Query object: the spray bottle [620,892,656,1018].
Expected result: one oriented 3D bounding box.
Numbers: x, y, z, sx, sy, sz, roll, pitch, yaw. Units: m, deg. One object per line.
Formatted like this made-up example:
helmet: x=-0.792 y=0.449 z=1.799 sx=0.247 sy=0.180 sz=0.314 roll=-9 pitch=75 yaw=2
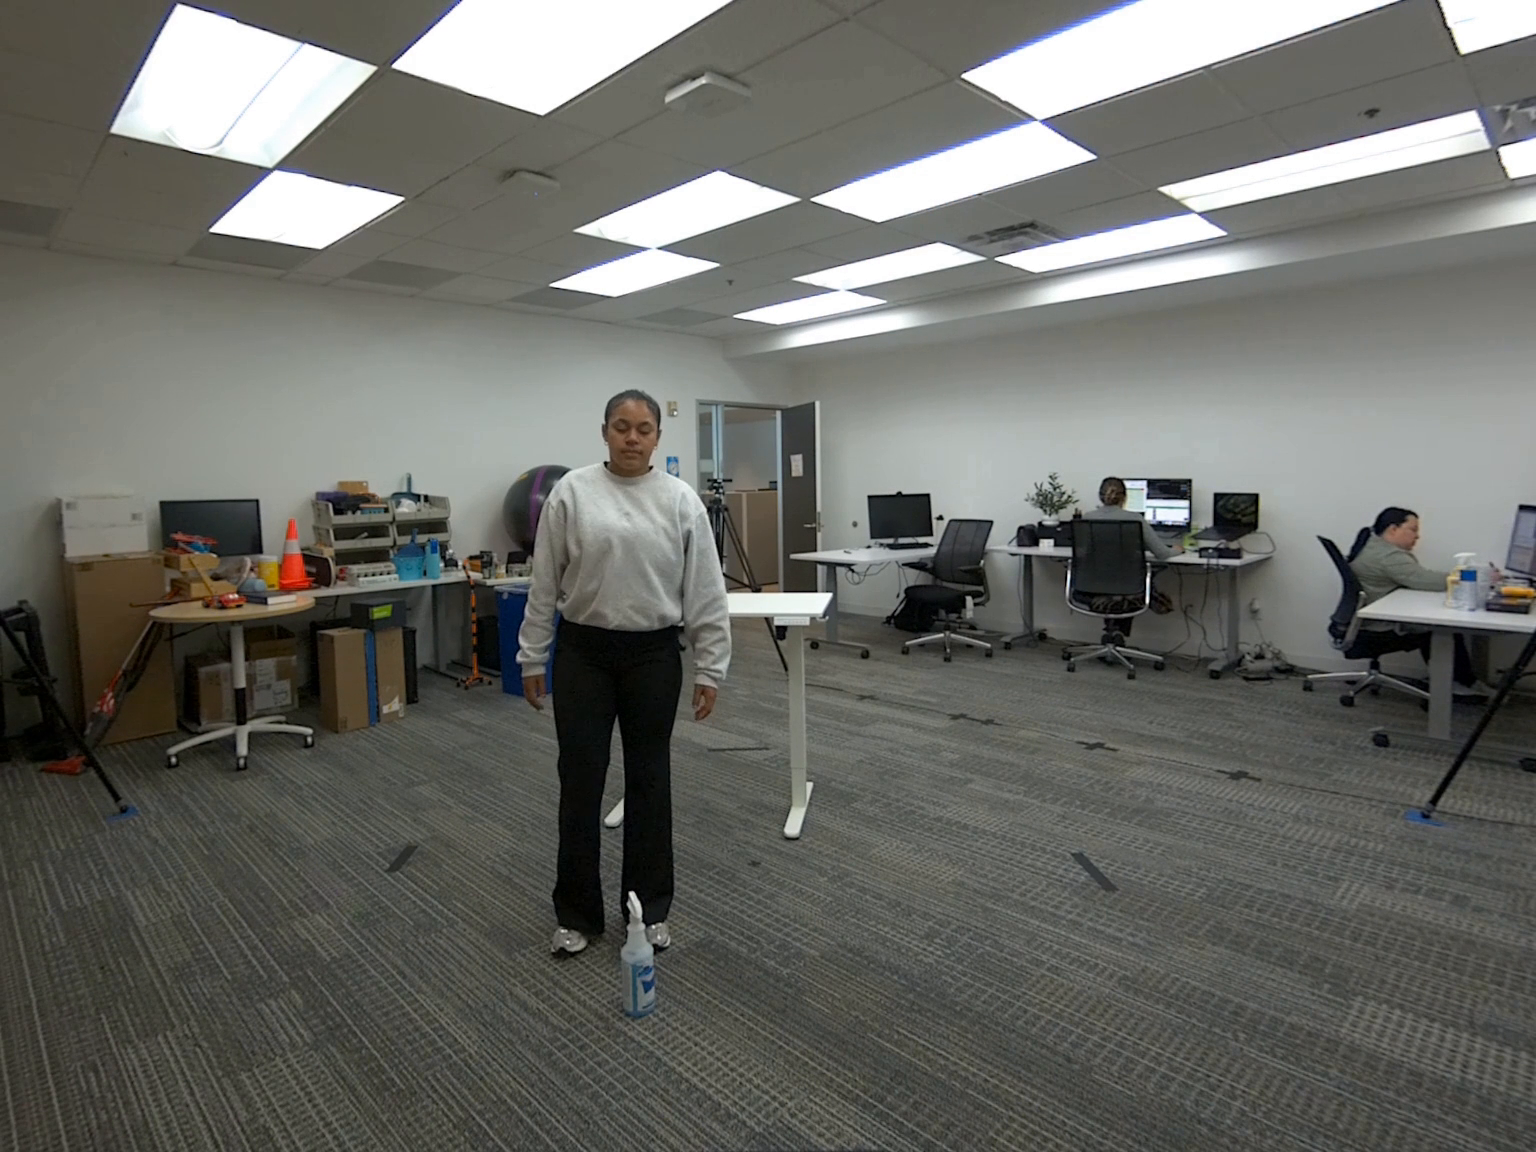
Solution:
spray bottle: x=-0.347 y=1.011 z=2.267 sx=0.087 sy=0.297 sz=0.089 roll=-2 pitch=1 yaw=5
